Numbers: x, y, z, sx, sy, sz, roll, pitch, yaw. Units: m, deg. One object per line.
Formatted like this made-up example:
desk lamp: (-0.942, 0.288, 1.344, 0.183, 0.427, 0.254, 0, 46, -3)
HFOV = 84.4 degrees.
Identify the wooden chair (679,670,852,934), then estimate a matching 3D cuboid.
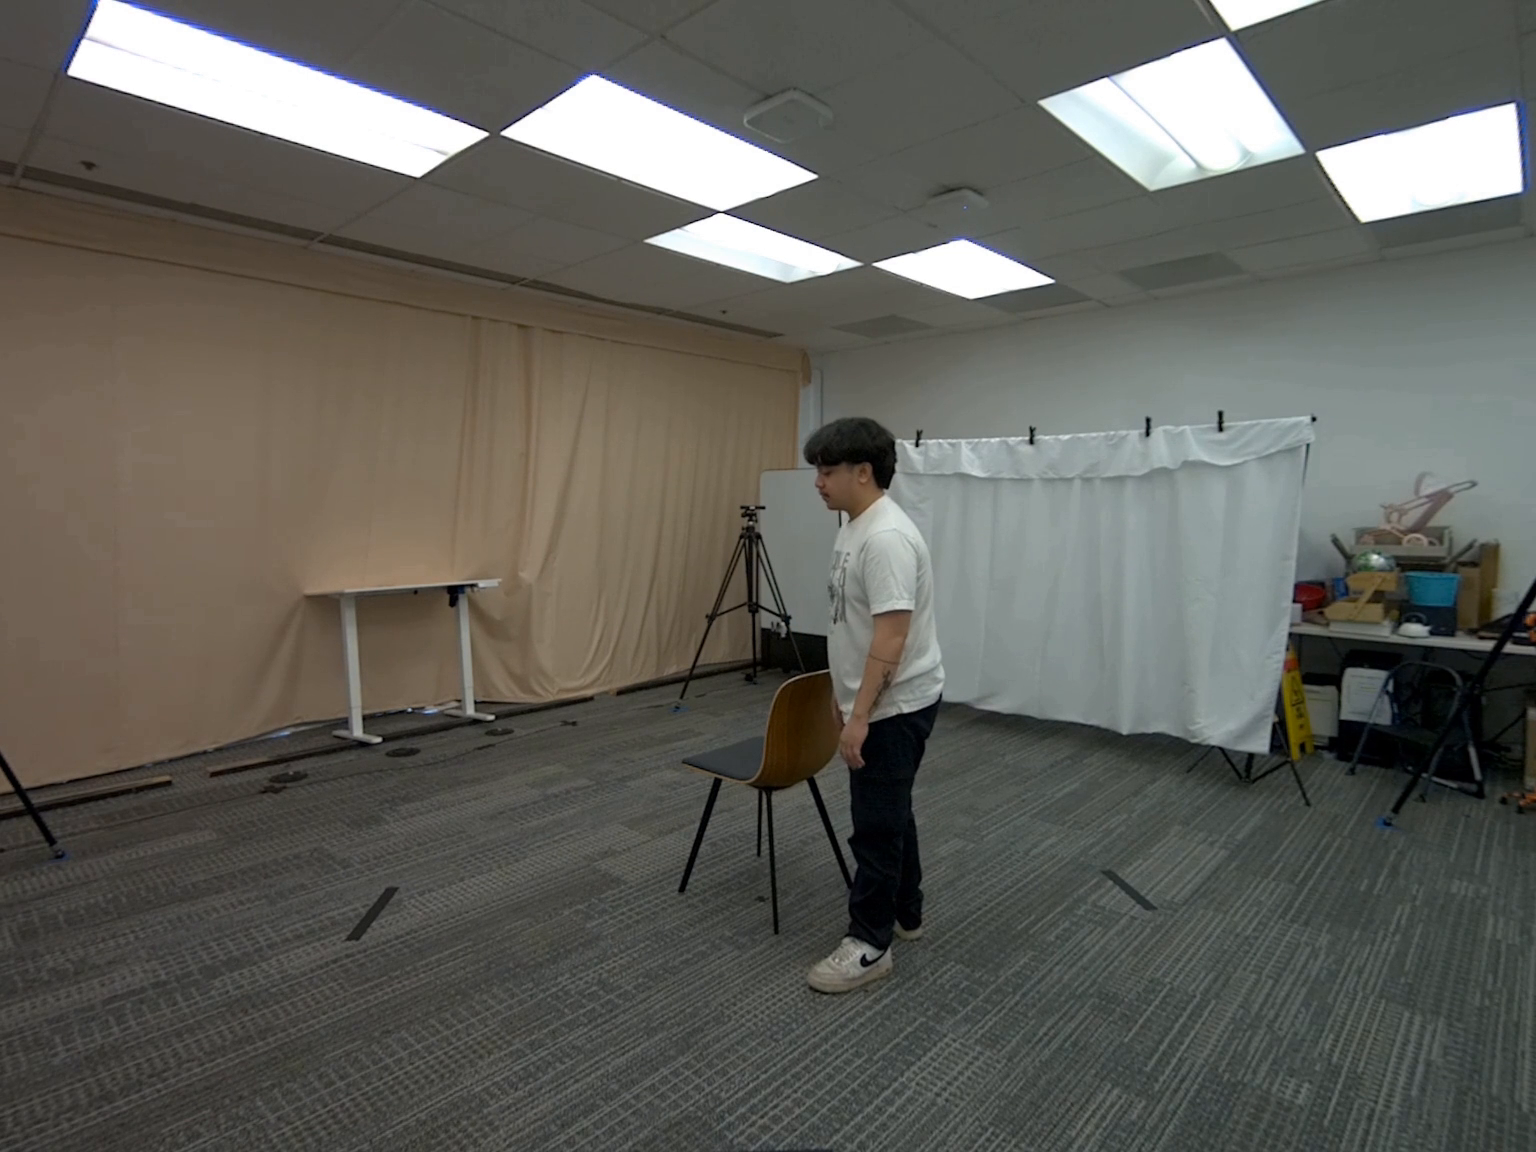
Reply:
wooden chair: (-0.014, 0.715, 3.026, 0.541, 0.874, 0.463, 8, 8, 41)
